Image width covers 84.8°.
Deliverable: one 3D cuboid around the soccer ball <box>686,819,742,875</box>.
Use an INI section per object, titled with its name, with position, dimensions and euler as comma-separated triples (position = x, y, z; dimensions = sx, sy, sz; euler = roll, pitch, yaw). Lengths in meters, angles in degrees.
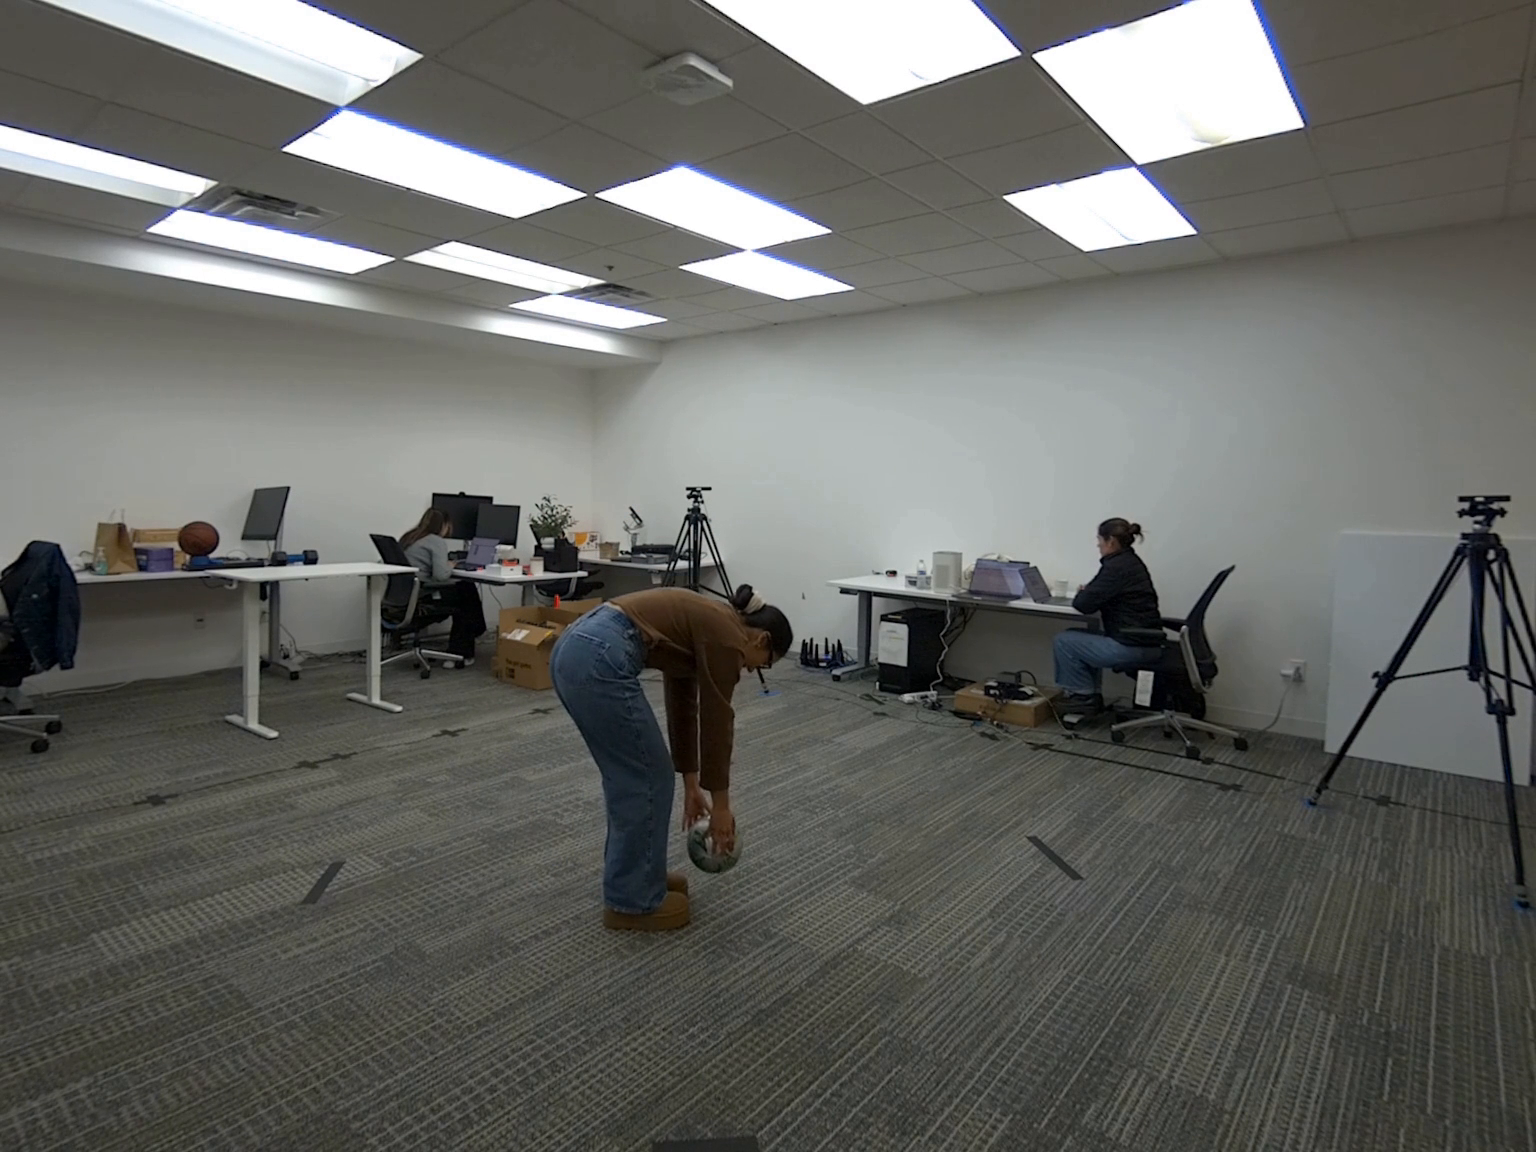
[soccer ball]
position = -0.187, 0.884, 2.807
dimensions = 0.187, 0.187, 0.188
euler = 1, 4, -2
